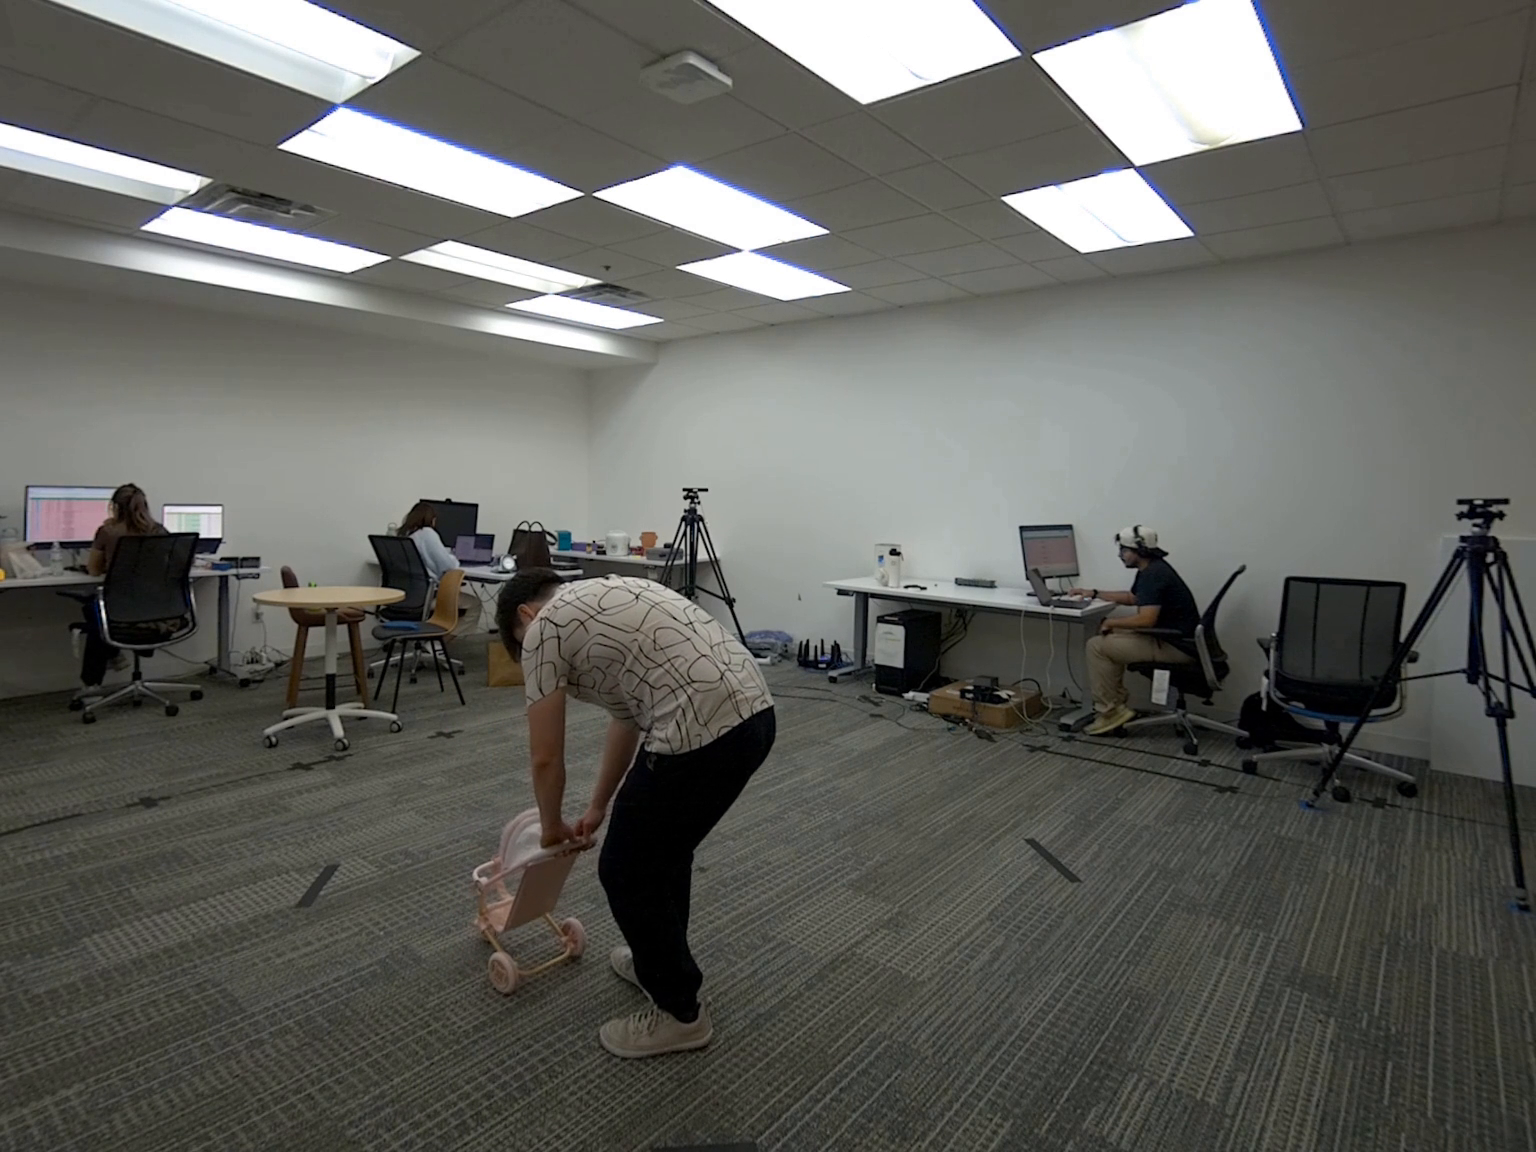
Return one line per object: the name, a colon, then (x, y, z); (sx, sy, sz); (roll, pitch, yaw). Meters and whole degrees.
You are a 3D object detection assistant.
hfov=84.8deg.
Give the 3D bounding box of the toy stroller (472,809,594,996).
toy stroller: (-0.707, 0.901, 2.456); (0.355, 0.530, 0.273); (26, 19, 40)
